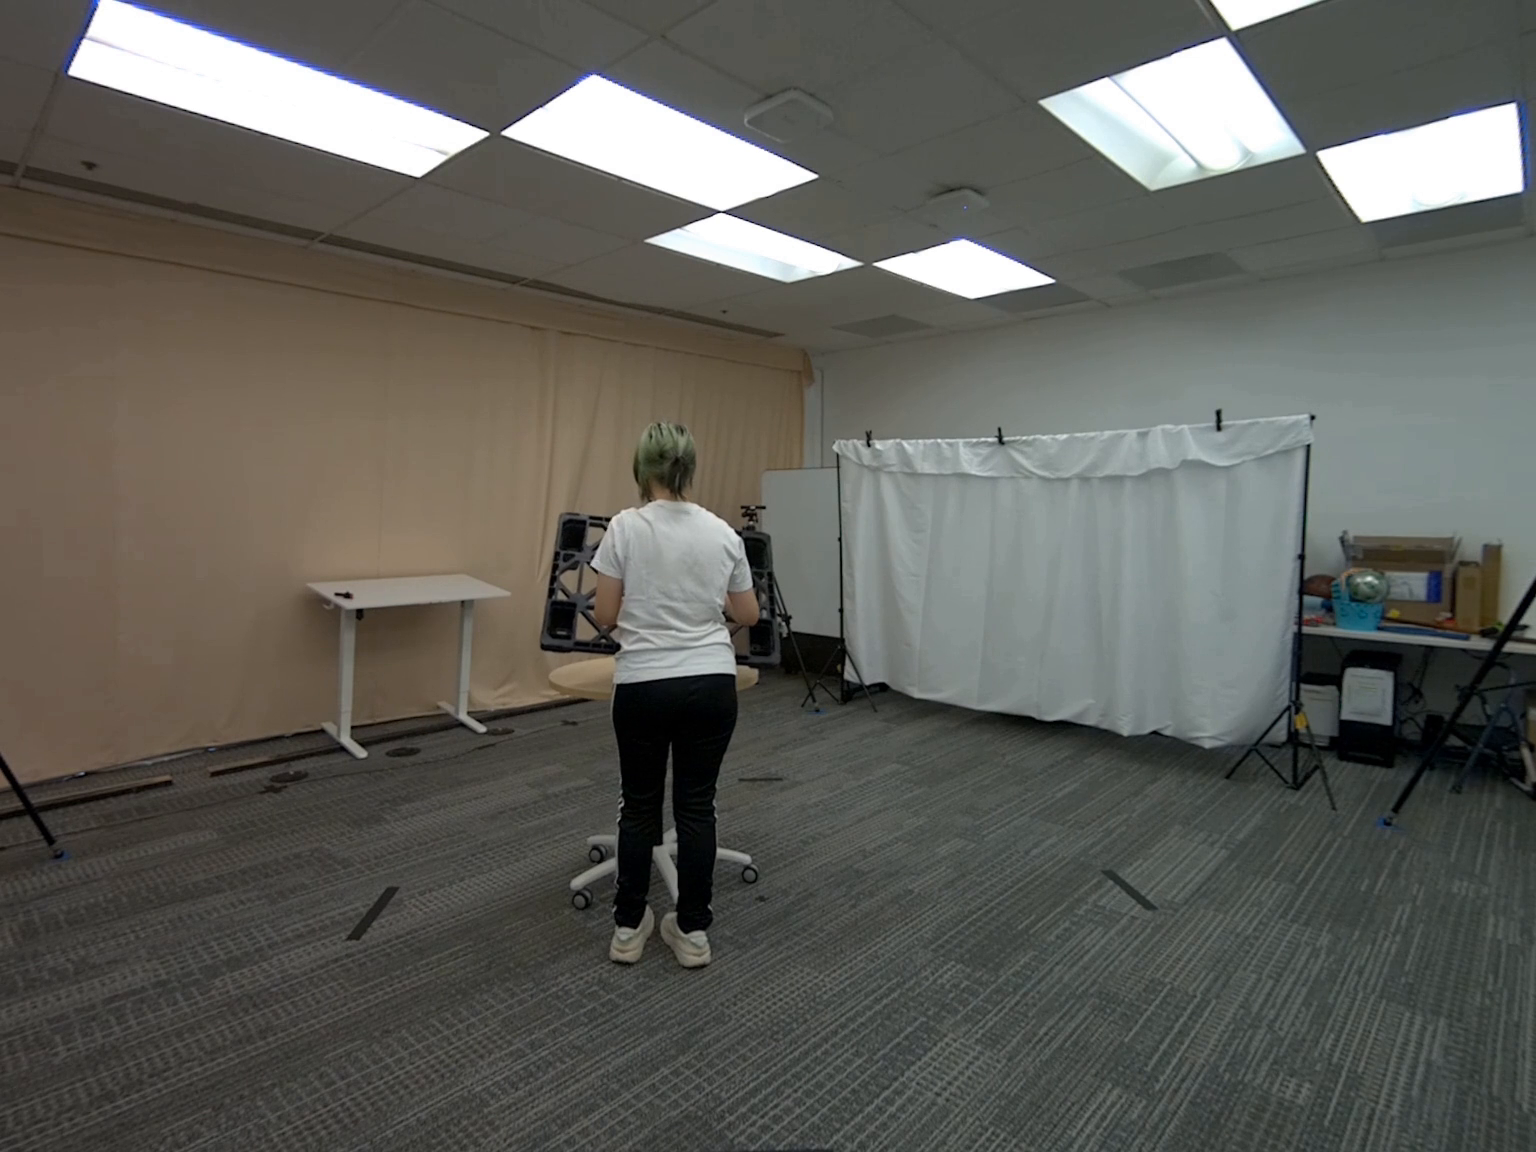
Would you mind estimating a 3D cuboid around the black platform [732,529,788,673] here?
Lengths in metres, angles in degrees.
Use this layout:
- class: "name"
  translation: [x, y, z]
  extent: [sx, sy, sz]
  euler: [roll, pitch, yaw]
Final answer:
- class: "black platform"
  translation: [-0.366, 0.072, 2.999]
  extent: [0.799, 0.616, 0.142]
  euler: [5, -41, -7]
